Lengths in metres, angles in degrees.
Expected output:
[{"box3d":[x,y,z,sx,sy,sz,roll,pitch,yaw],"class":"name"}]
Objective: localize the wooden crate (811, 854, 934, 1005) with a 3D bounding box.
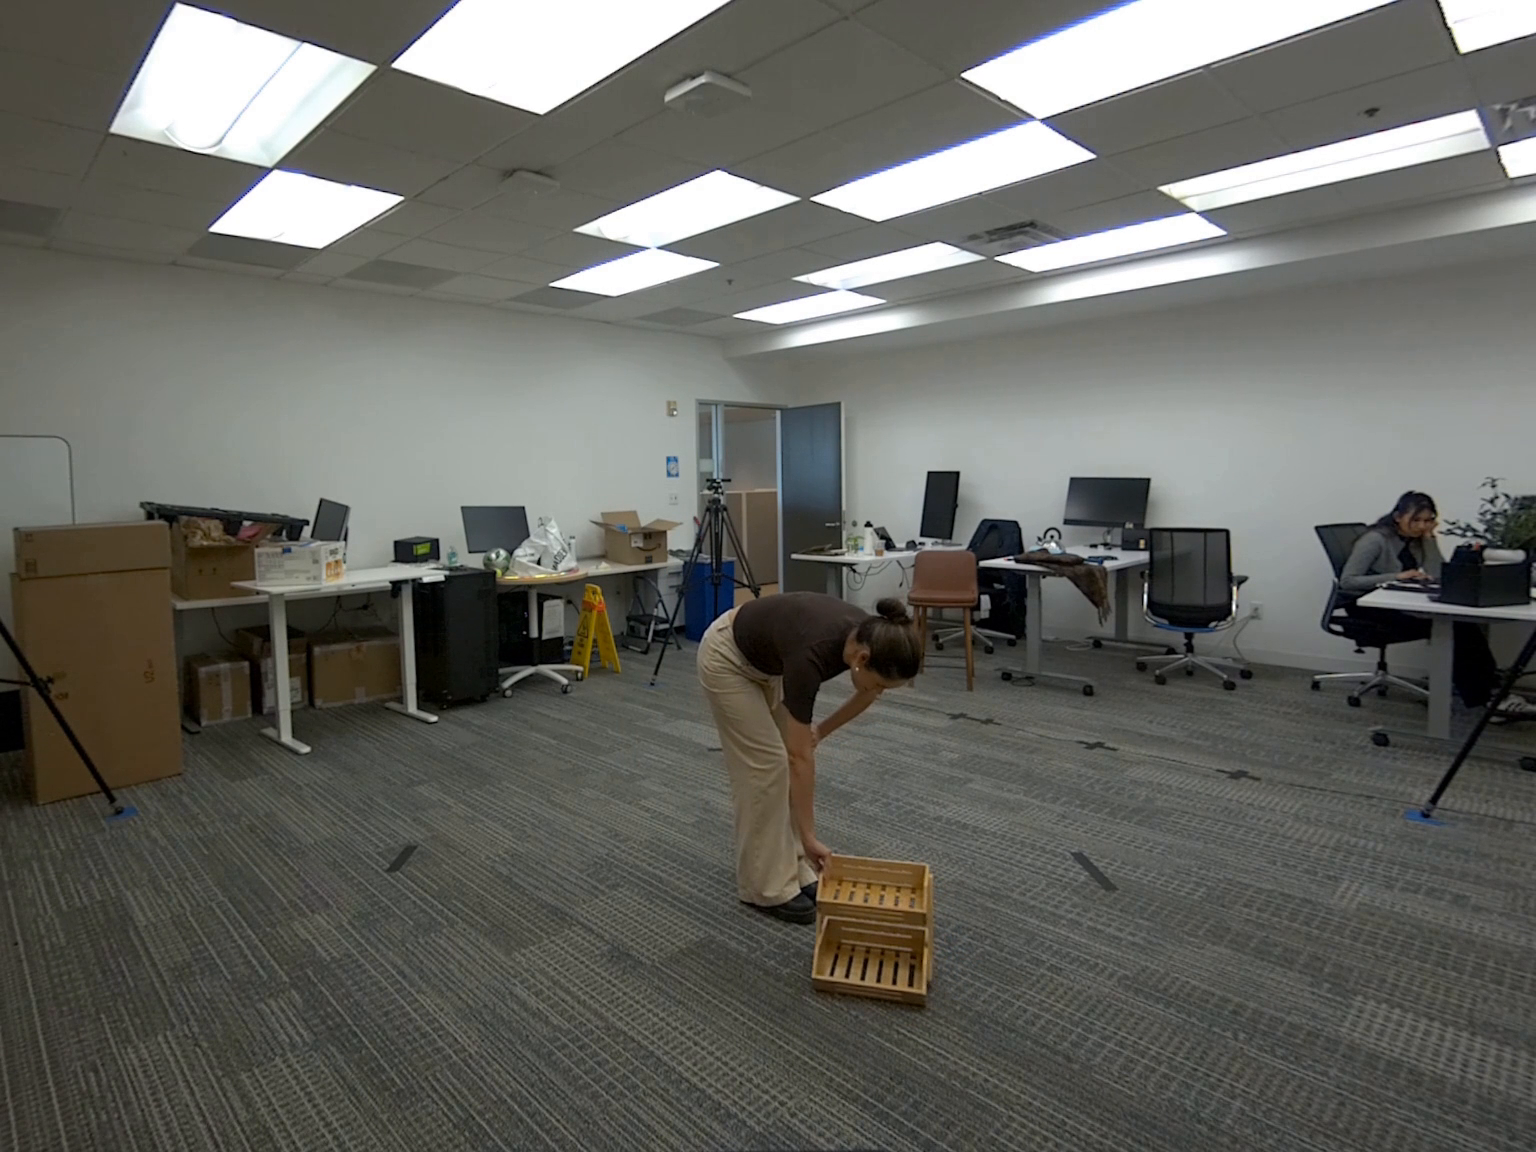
[{"box3d":[0.304,0.984,2.403,0.329,0.272,0.298,0,4,15],"class":"wooden crate"}]
